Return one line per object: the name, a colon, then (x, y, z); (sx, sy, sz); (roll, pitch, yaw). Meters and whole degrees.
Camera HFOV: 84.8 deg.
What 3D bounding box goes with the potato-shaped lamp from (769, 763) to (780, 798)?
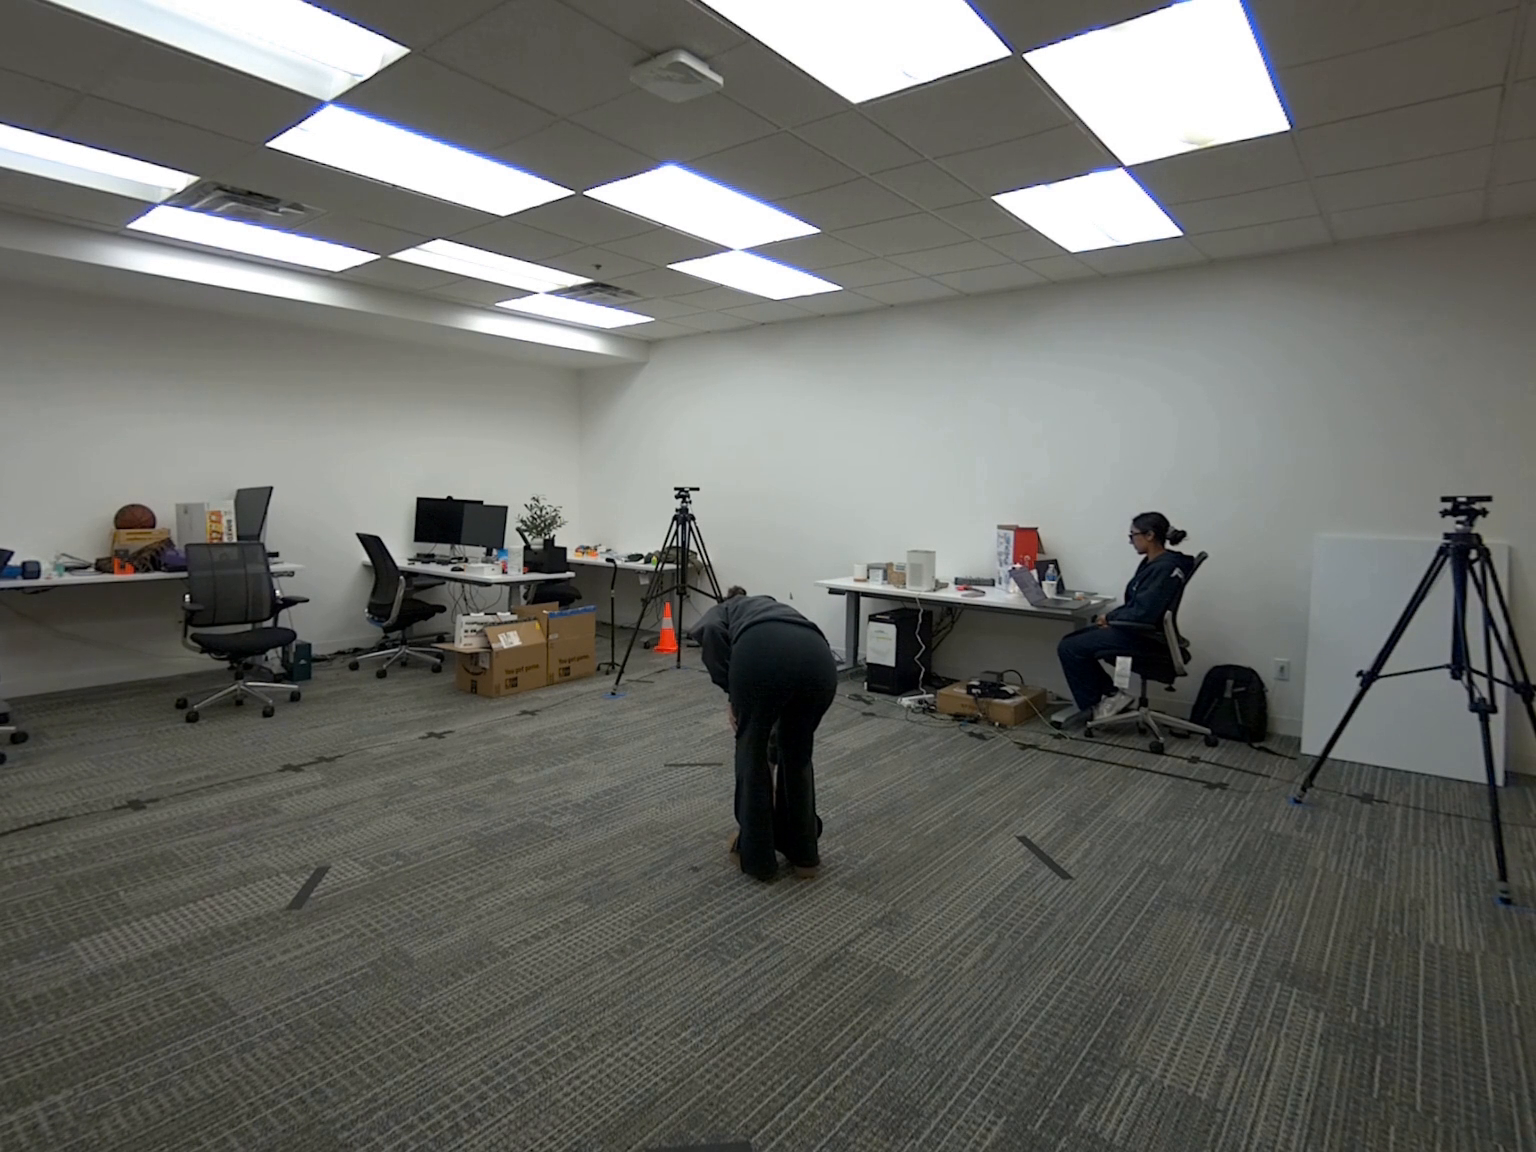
potato-shaped lamp: (-0.034, 0.927, 3.480); (0.168, 0.198, 0.168); (-1, 1, 19)
